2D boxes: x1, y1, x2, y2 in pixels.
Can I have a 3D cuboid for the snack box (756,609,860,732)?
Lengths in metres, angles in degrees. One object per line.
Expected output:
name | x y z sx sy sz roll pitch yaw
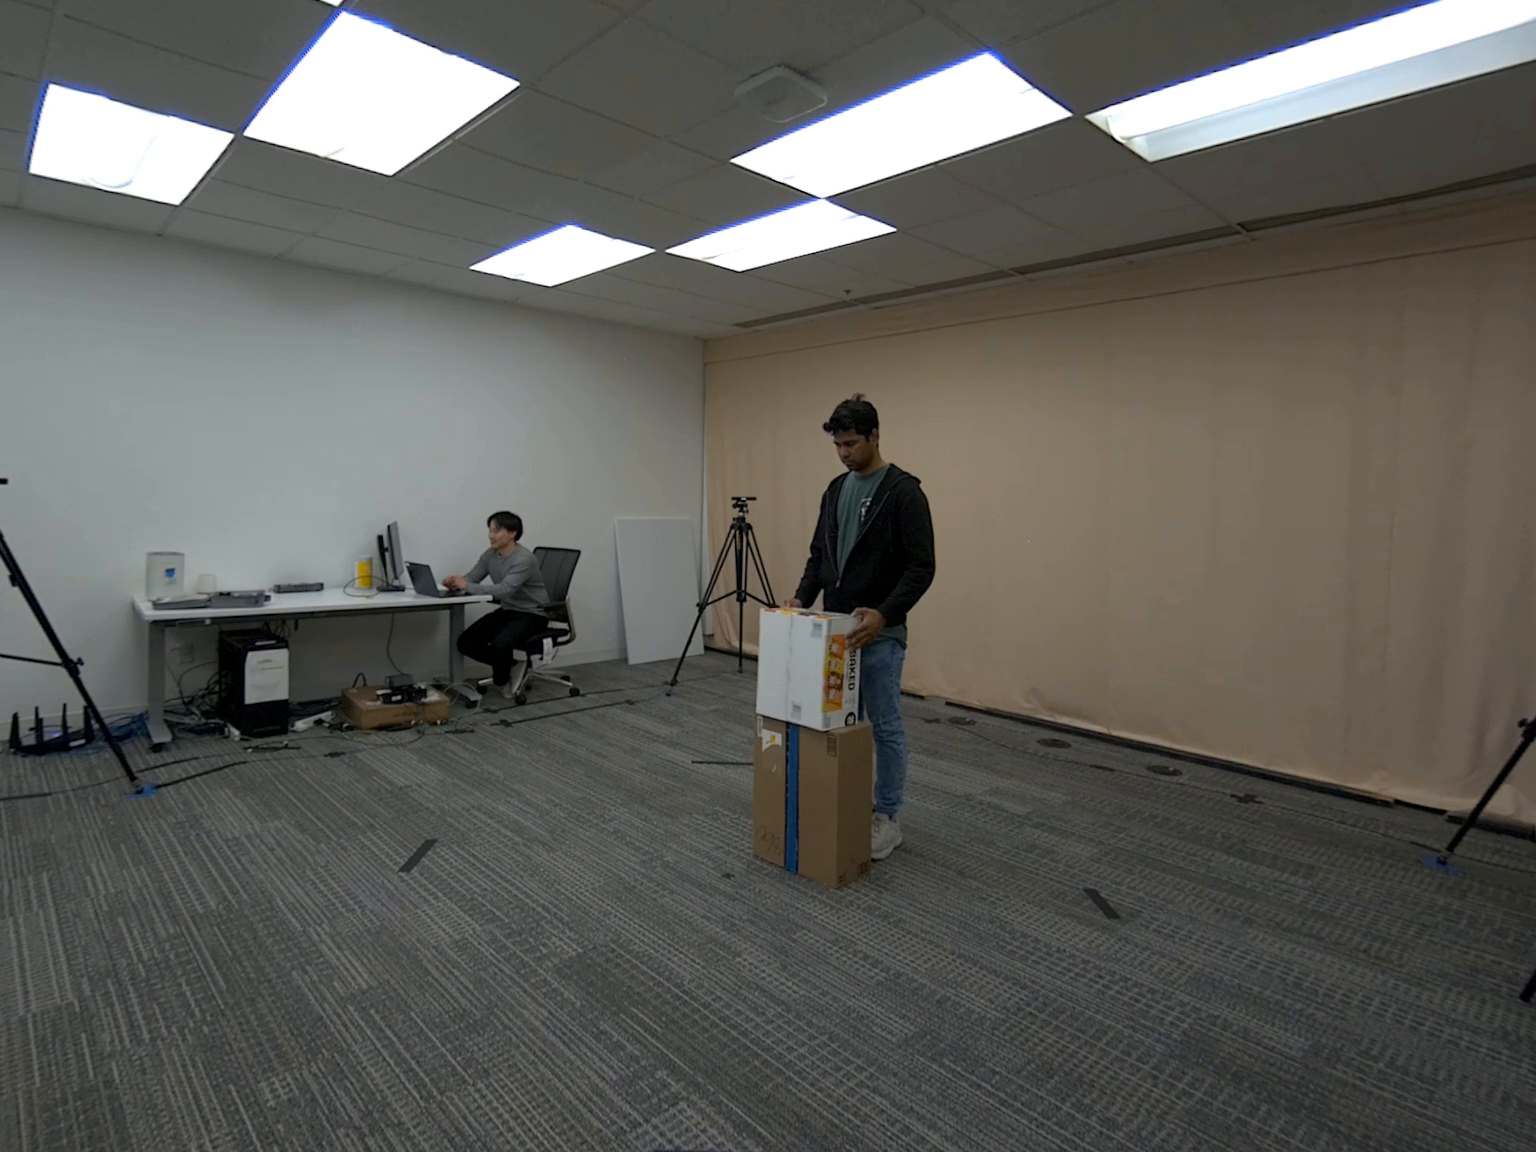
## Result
snack box | 0.143 0.335 3.174 0.201 0.405 0.349 1 3 -45
